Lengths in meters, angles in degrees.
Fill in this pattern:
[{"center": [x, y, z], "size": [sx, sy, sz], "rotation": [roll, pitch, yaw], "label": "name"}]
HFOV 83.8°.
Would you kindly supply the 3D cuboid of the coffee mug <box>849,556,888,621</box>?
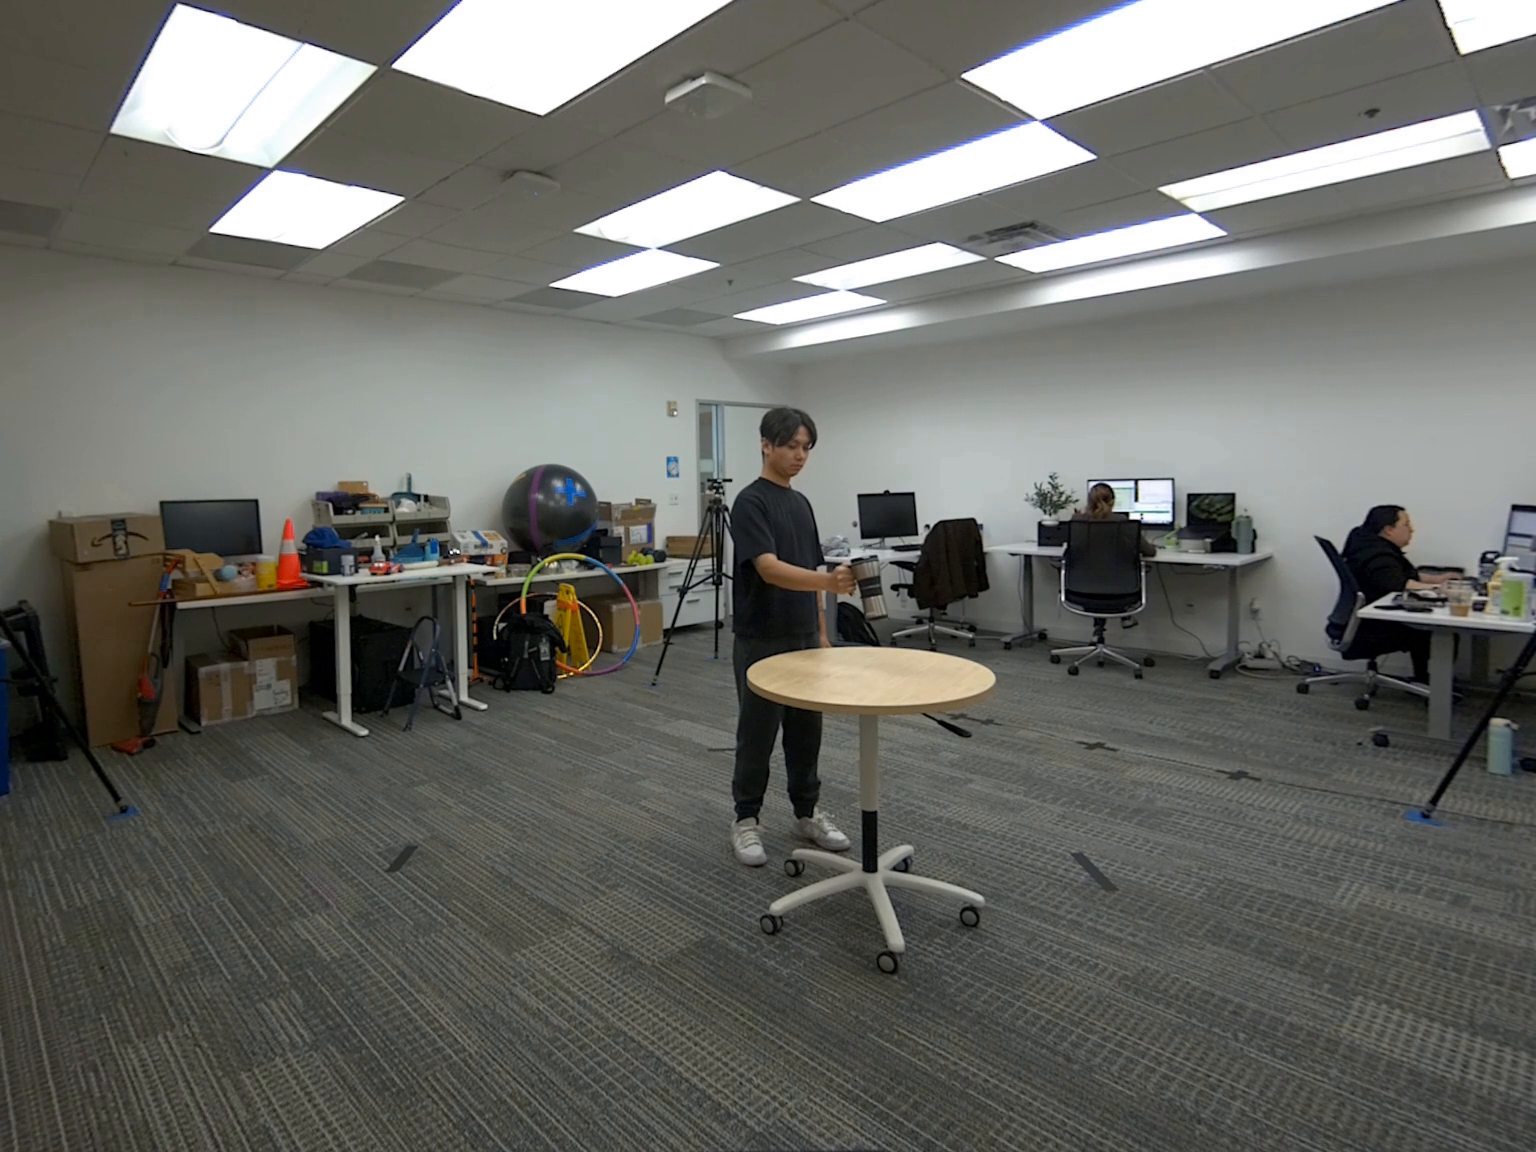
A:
[{"center": [0.306, 0.041, 2.684], "size": [0.086, 0.204, 0.124], "rotation": [-6, -4, -35], "label": "coffee mug"}]
